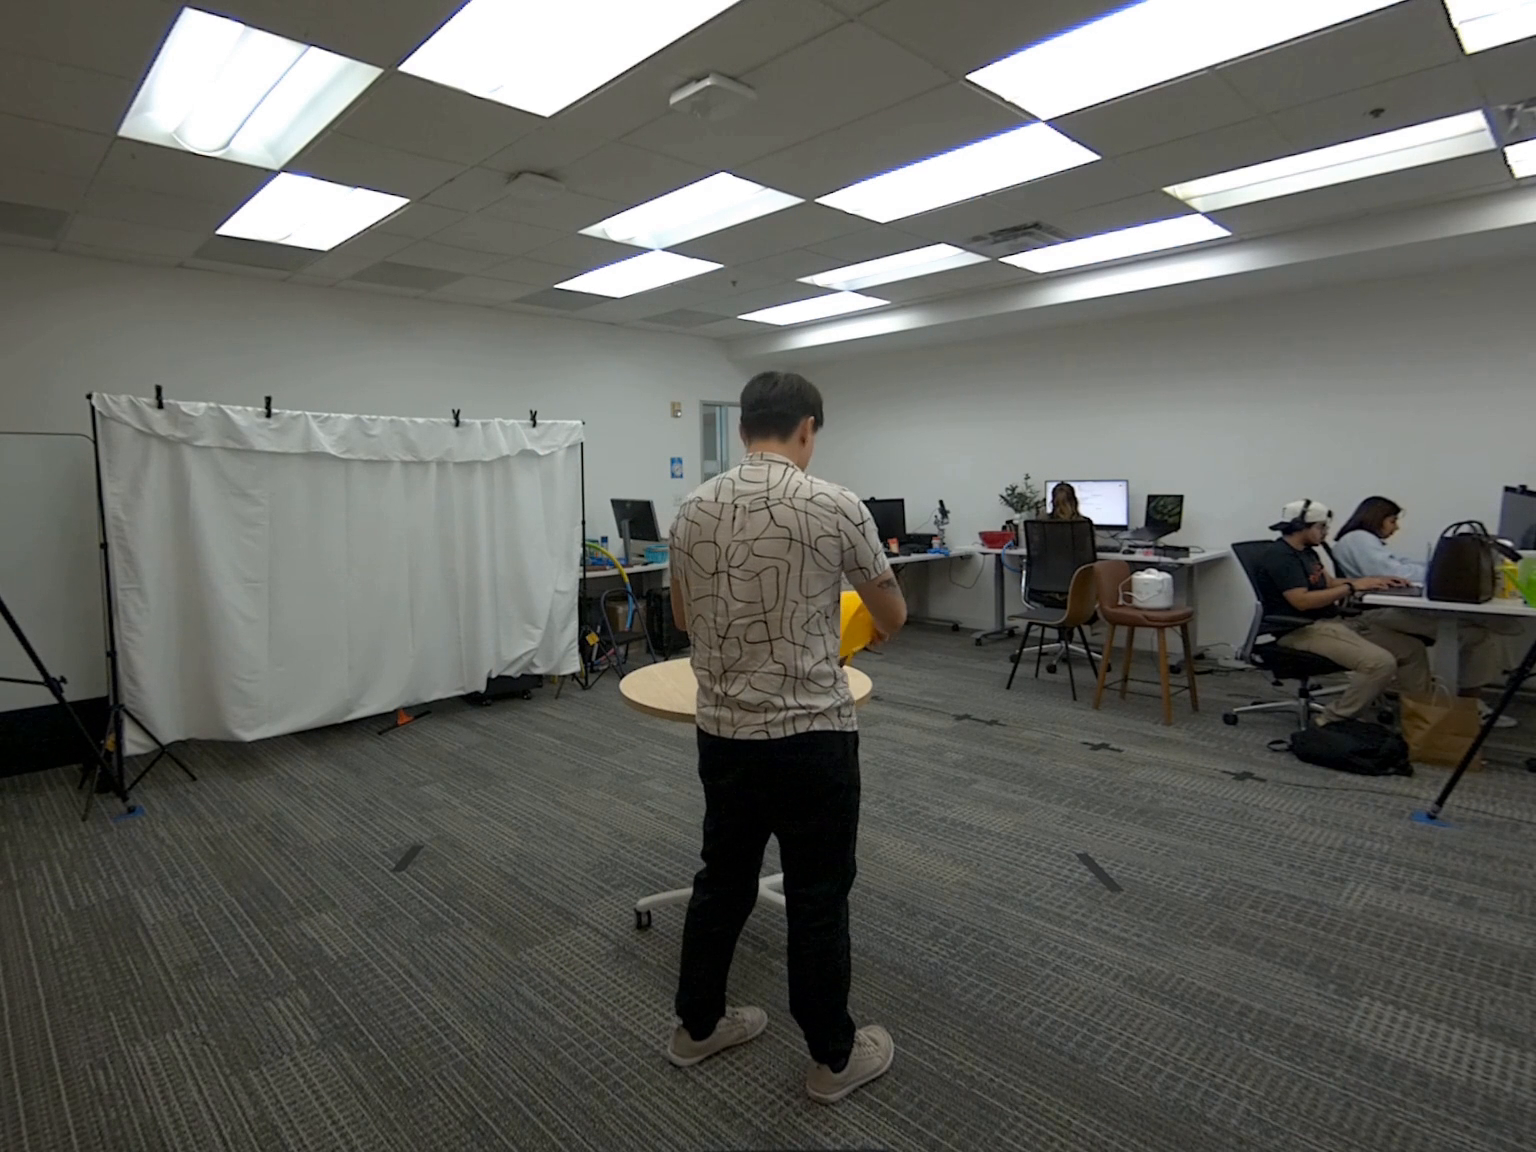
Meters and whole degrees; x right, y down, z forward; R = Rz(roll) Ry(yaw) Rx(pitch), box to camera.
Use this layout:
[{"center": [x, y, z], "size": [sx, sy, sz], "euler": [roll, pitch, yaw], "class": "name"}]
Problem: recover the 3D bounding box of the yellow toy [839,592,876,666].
[{"center": [0.178, 0.107, 2.173], "size": [0.199, 0.227, 0.201], "euler": [33, 31, 28], "class": "yellow toy"}]
